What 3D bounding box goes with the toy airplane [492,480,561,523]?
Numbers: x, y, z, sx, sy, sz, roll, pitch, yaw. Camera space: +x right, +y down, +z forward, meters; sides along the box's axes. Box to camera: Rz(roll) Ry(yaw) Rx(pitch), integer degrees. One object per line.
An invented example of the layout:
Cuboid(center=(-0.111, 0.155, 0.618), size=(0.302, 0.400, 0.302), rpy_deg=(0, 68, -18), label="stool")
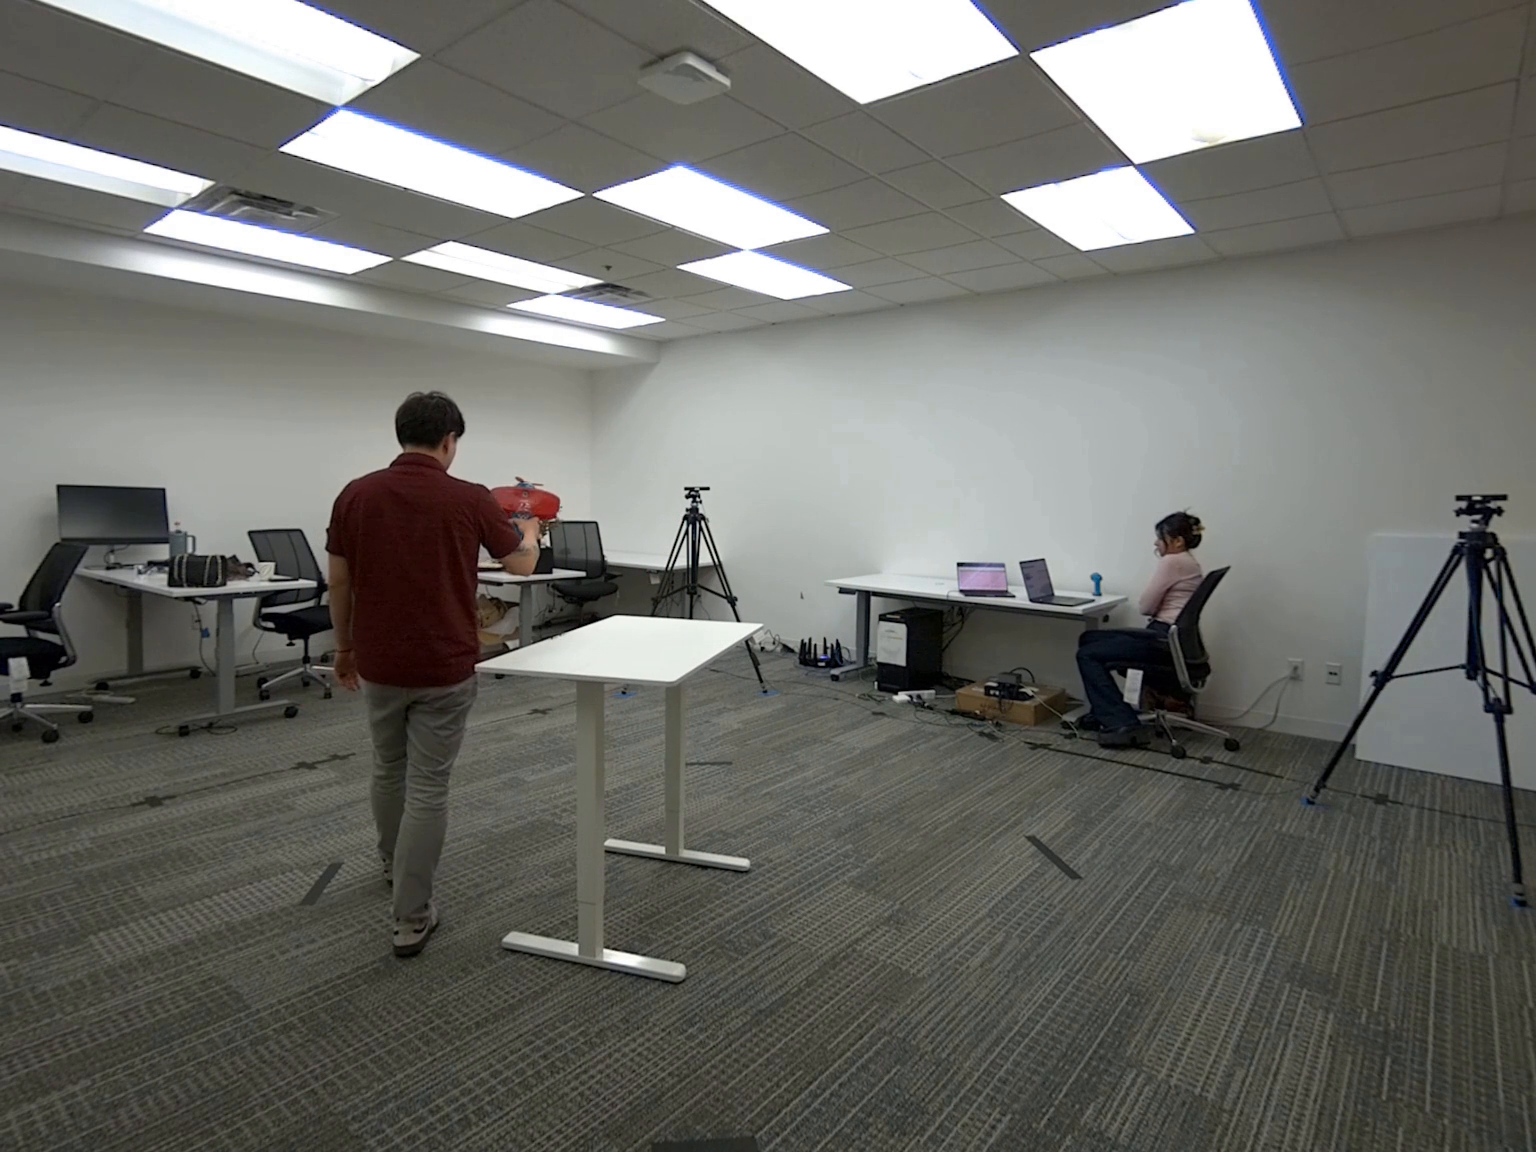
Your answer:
Cuboid(center=(-0.899, -0.226, 3.117), size=(0.247, 0.266, 0.155), rpy_deg=(-20, -21, -29), label="toy airplane")
